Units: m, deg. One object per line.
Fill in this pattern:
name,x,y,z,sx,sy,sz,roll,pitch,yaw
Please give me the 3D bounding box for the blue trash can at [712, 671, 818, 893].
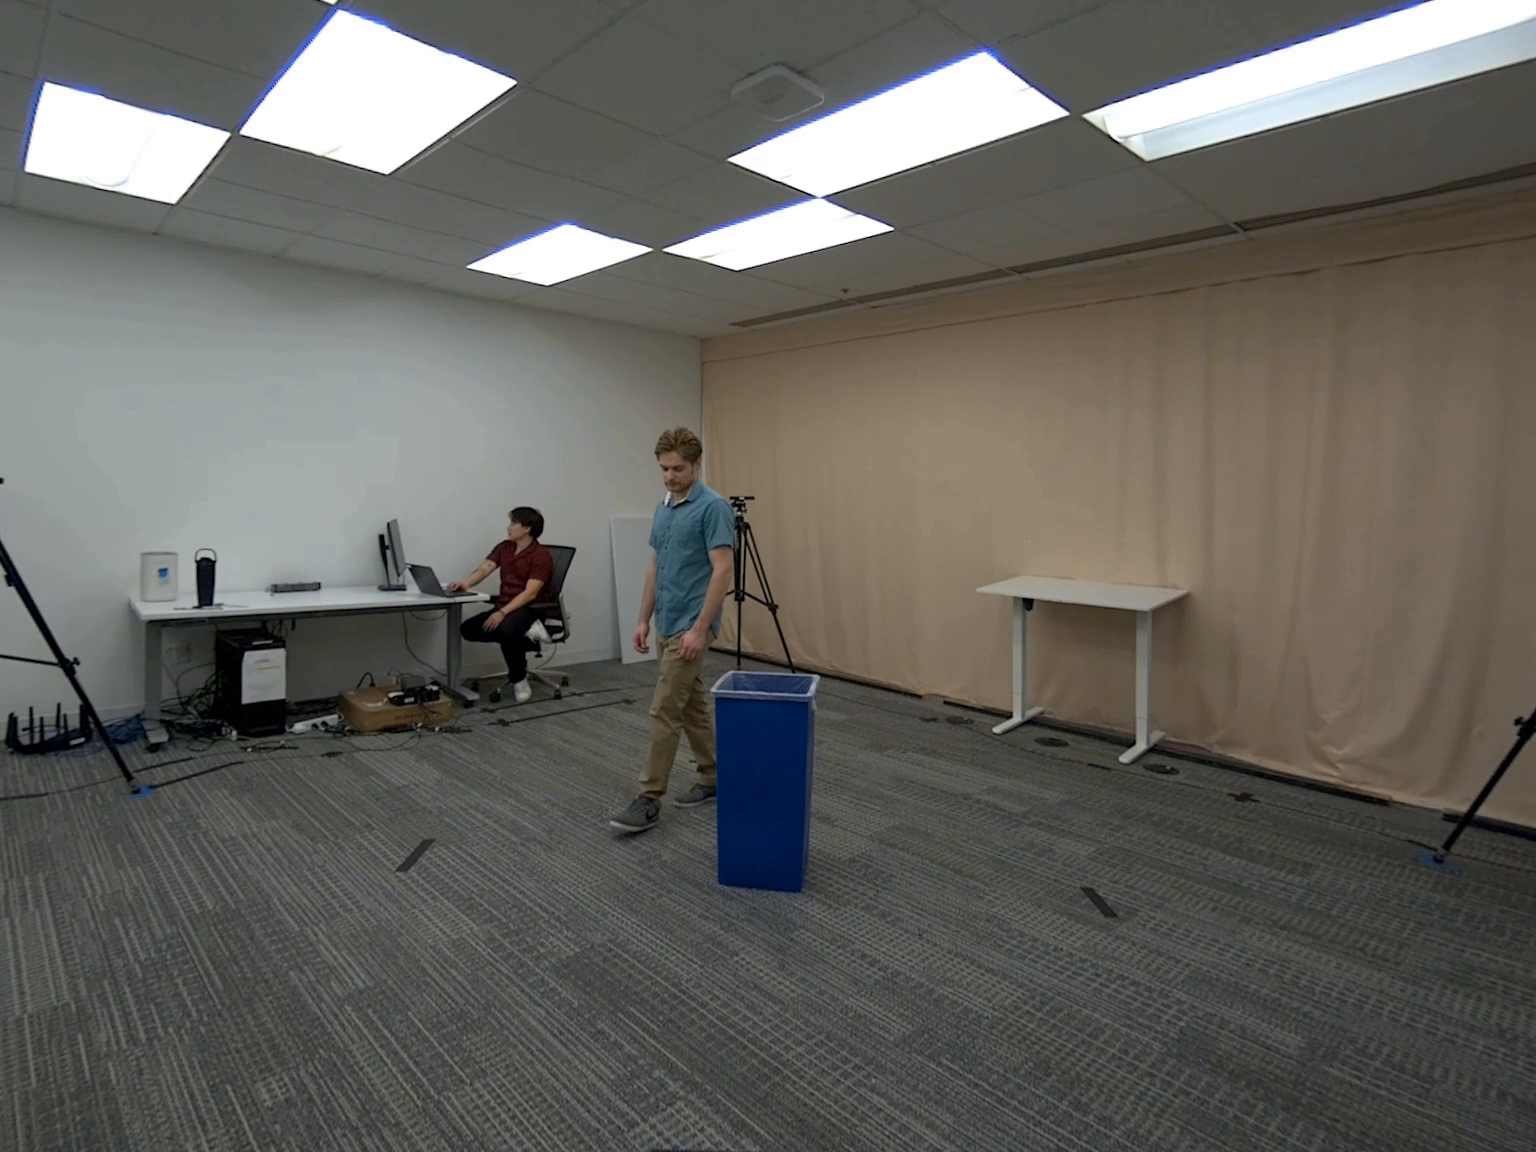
blue trash can,-0.021,0.747,3.126,0.377,0.712,0.376,2,3,9
